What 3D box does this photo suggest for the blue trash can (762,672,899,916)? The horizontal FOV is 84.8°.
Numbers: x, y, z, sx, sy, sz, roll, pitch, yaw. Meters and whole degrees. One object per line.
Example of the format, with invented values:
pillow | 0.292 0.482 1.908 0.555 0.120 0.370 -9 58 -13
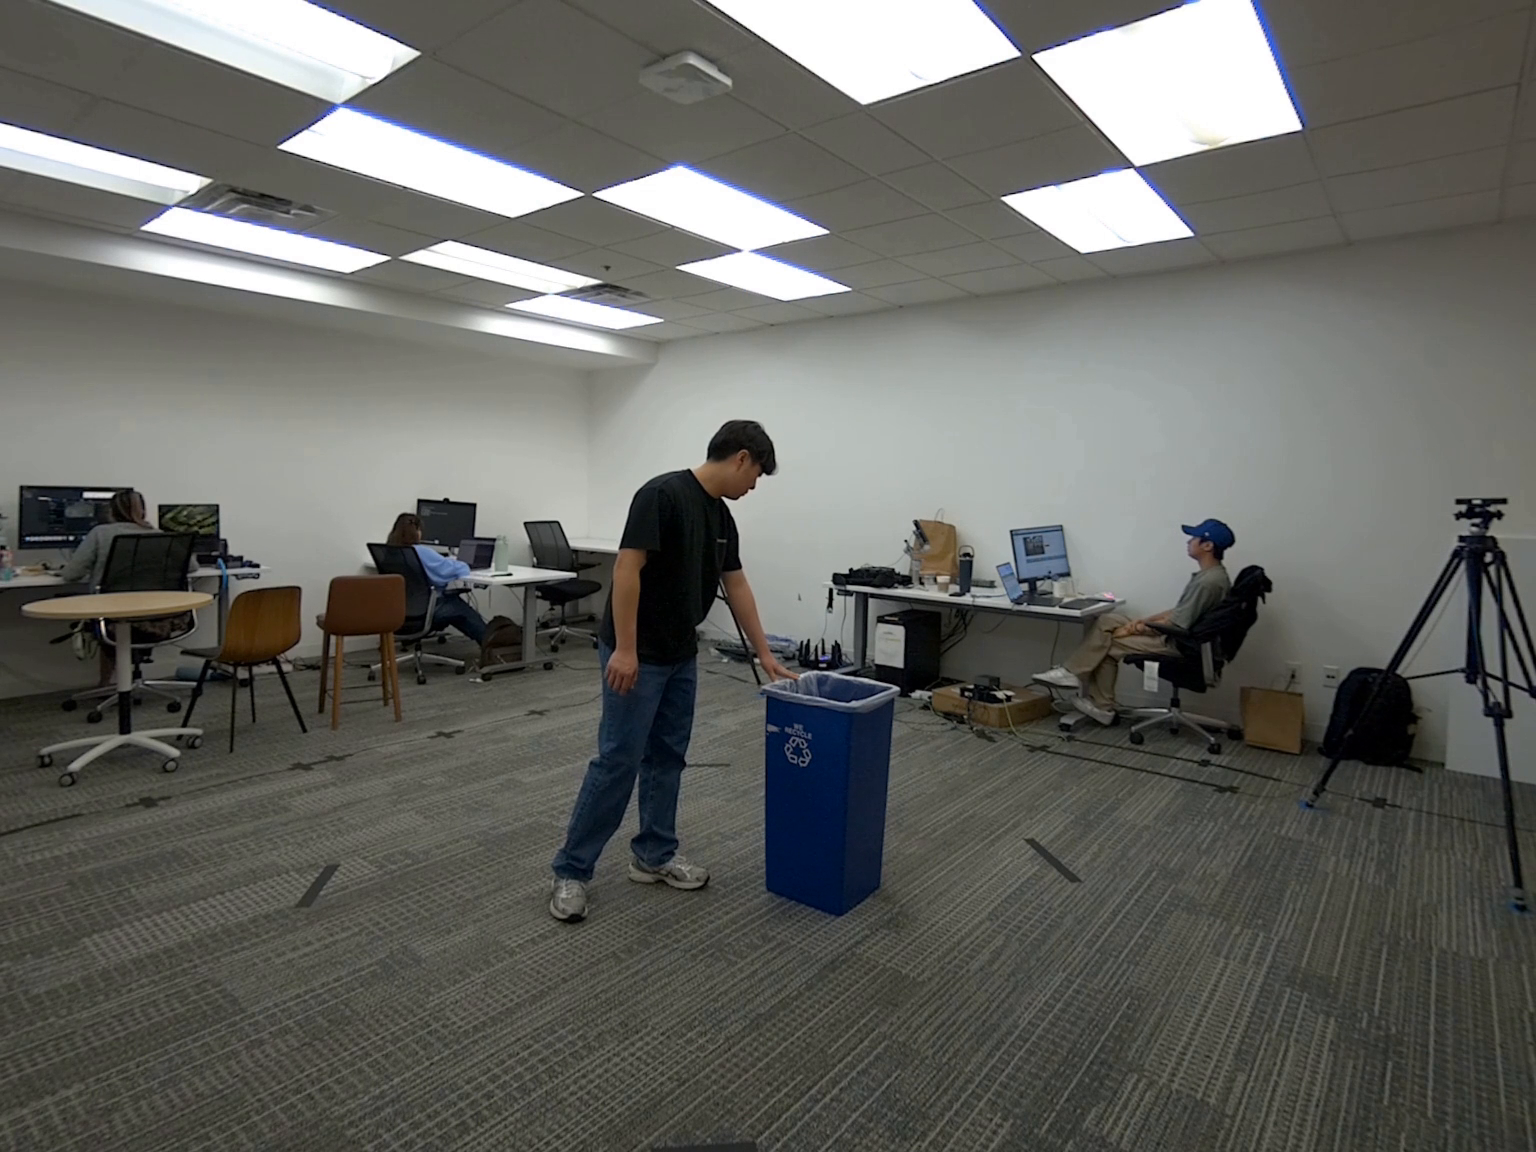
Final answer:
blue trash can | 0.209 0.737 2.963 0.386 0.711 0.367 3 4 34
